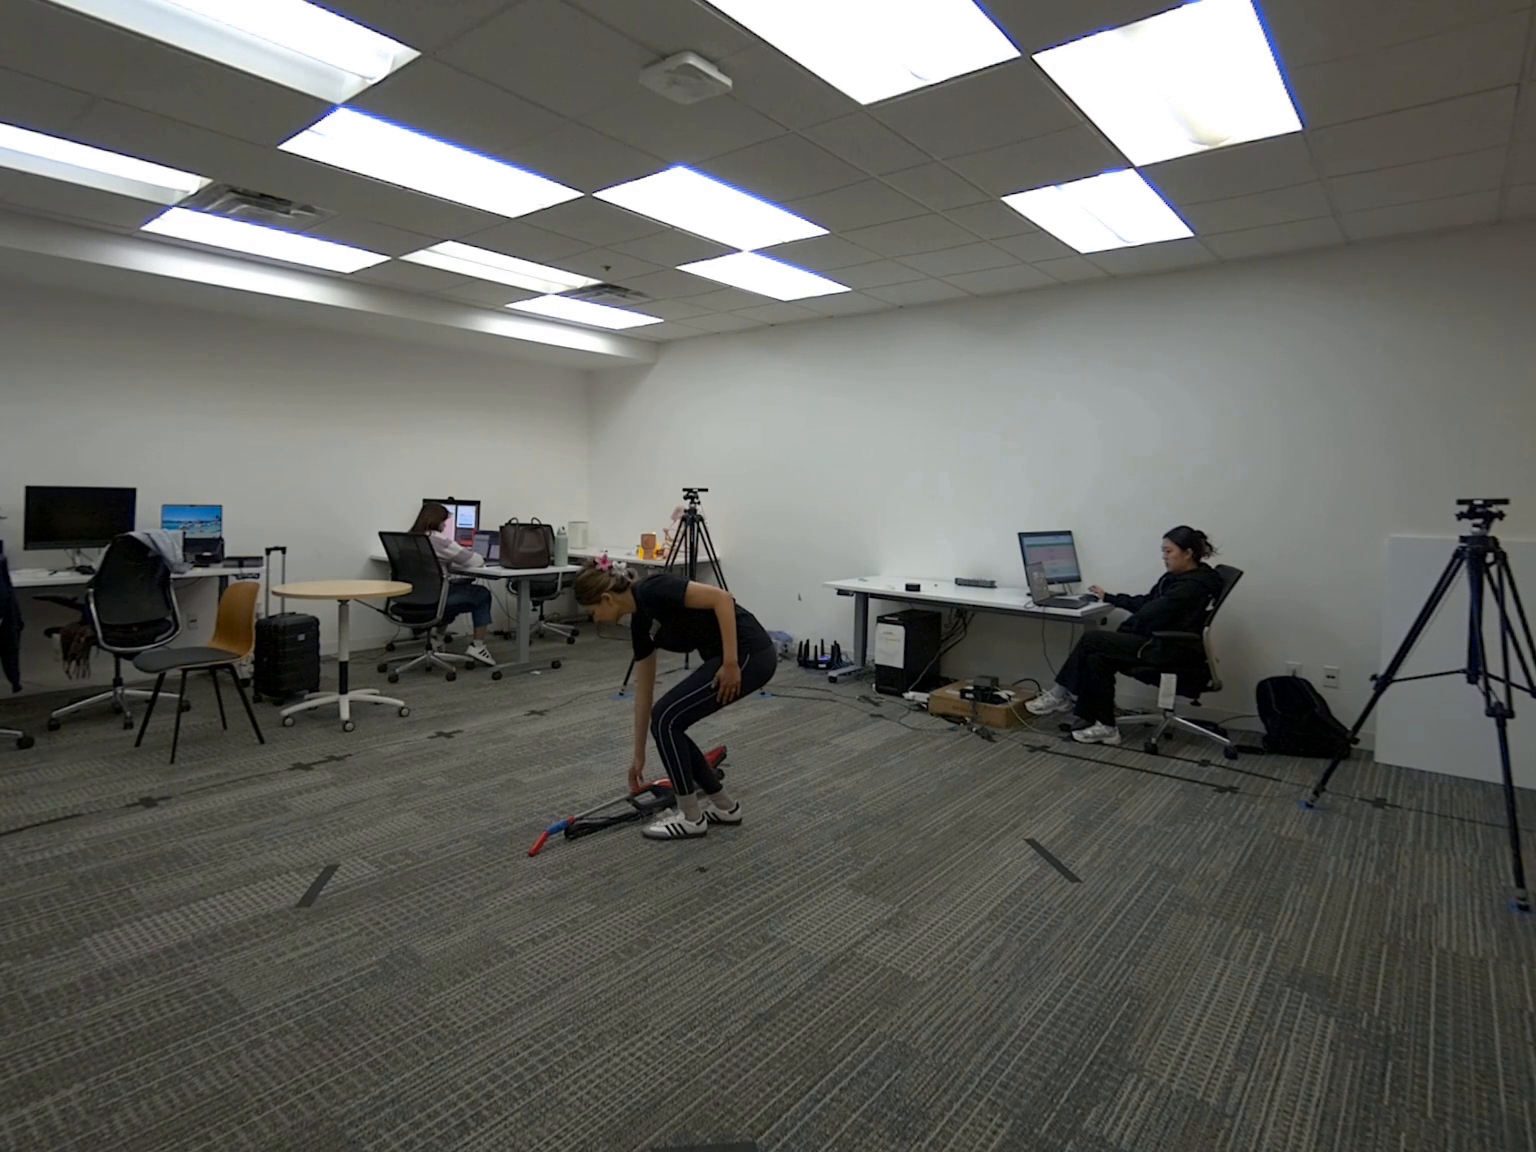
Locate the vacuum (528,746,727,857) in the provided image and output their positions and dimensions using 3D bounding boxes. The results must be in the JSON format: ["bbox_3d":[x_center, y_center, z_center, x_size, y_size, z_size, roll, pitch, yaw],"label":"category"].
[{"bbox_3d":[-0.589,0.970,3.582,0.255,0.146,1.024,-33,-11,39],"label":"vacuum"}]
